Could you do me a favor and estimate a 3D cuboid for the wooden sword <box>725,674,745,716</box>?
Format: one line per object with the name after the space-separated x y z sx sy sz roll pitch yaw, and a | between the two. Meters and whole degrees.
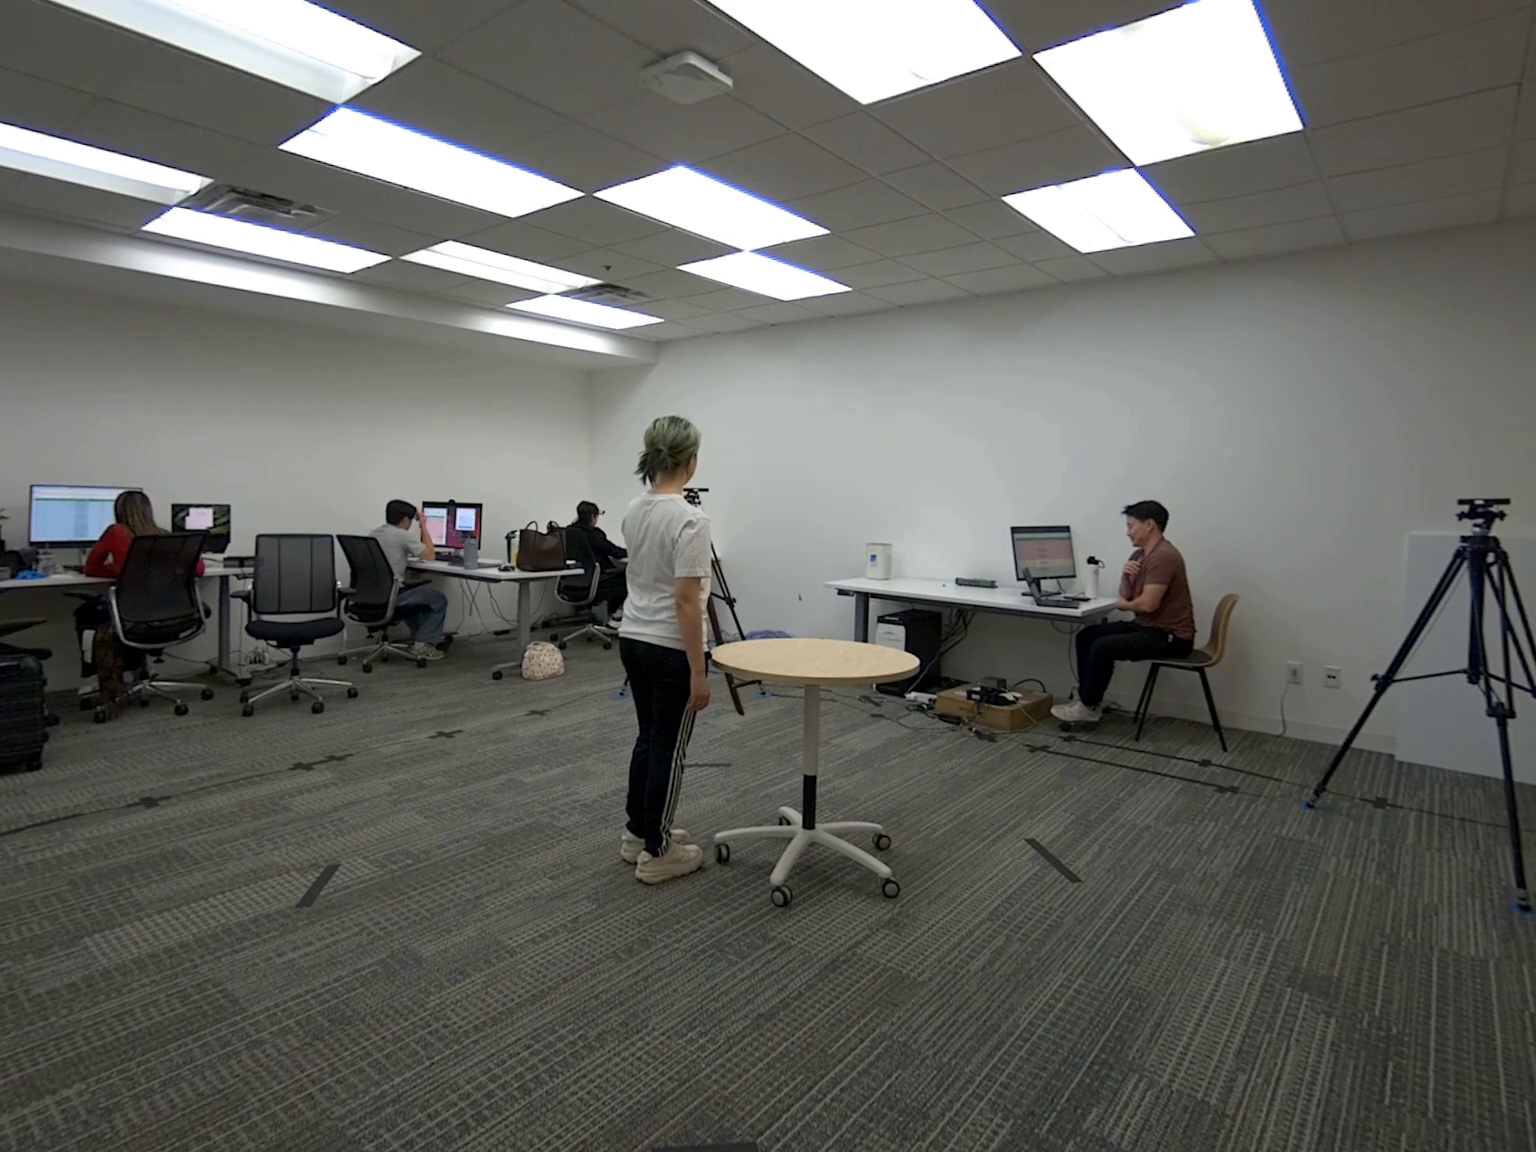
-0.238 0.165 3.614 0.052 1.003 0.024 -6 20 19 | wooden sword
